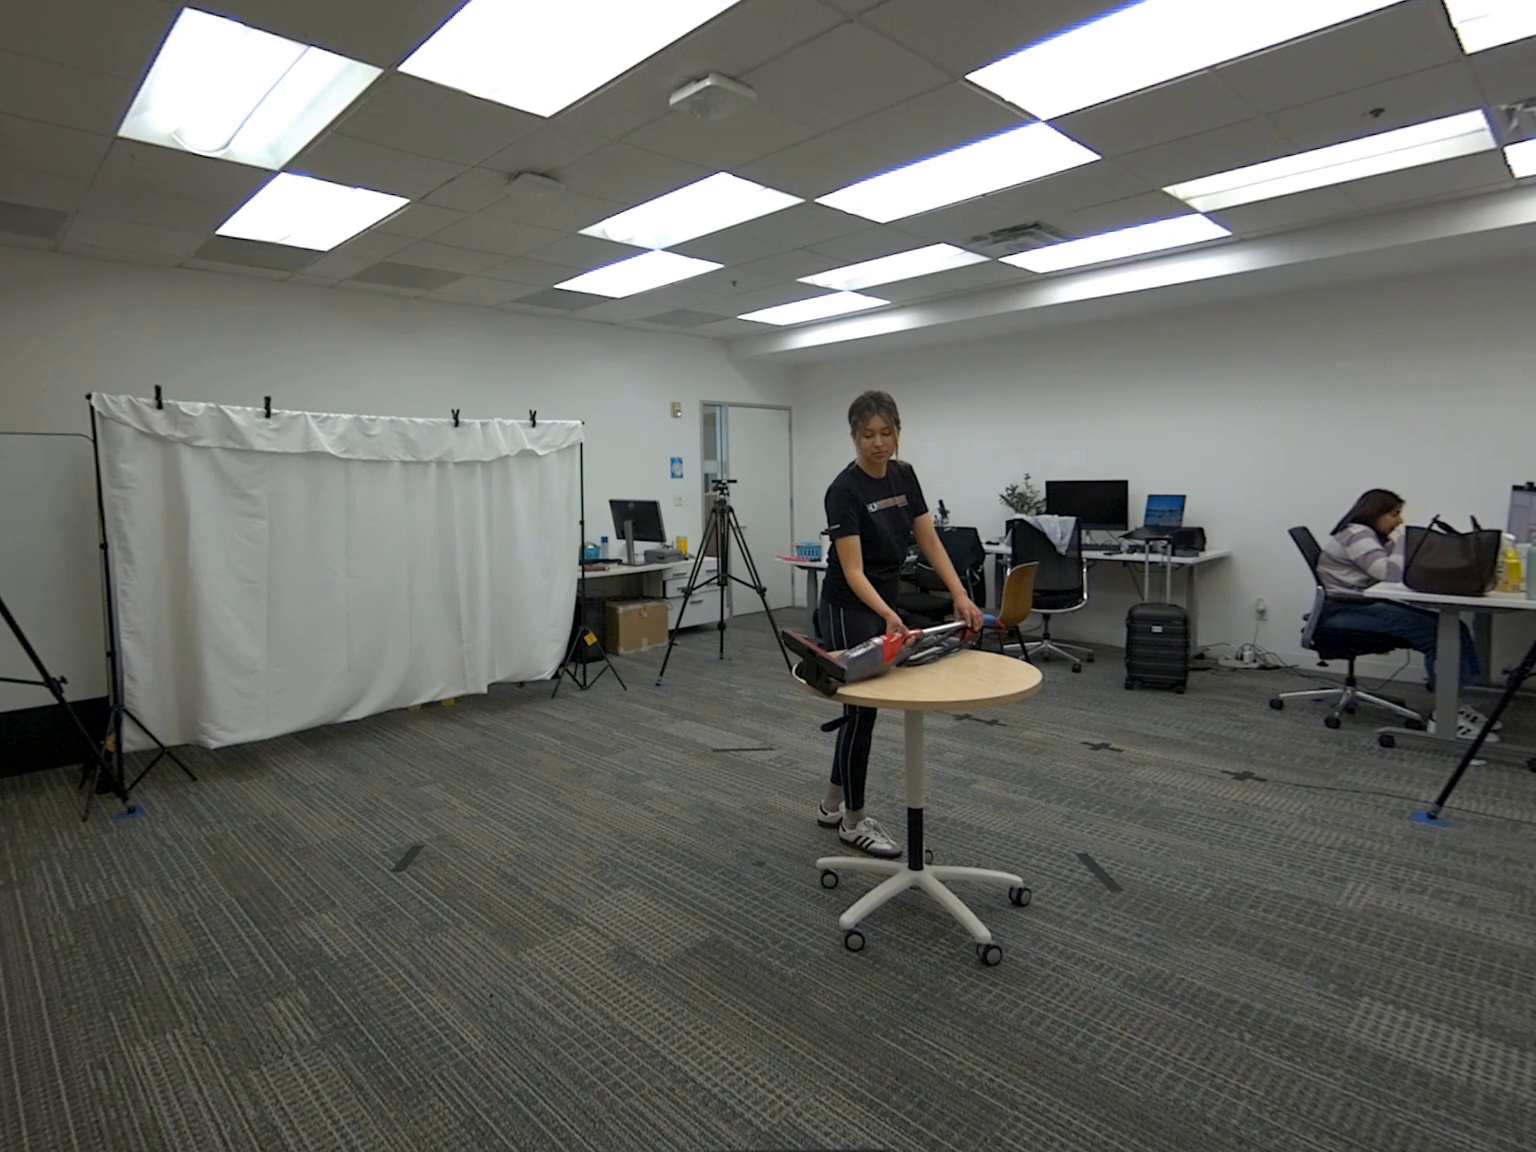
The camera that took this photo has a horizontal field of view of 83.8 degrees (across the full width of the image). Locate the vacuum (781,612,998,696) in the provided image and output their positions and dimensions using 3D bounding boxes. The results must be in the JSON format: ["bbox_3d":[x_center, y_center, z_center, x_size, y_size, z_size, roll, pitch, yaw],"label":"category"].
[{"bbox_3d":[0.493,0.236,2.781,1.021,0.142,0.262,-5,26,-43],"label":"vacuum"}]
